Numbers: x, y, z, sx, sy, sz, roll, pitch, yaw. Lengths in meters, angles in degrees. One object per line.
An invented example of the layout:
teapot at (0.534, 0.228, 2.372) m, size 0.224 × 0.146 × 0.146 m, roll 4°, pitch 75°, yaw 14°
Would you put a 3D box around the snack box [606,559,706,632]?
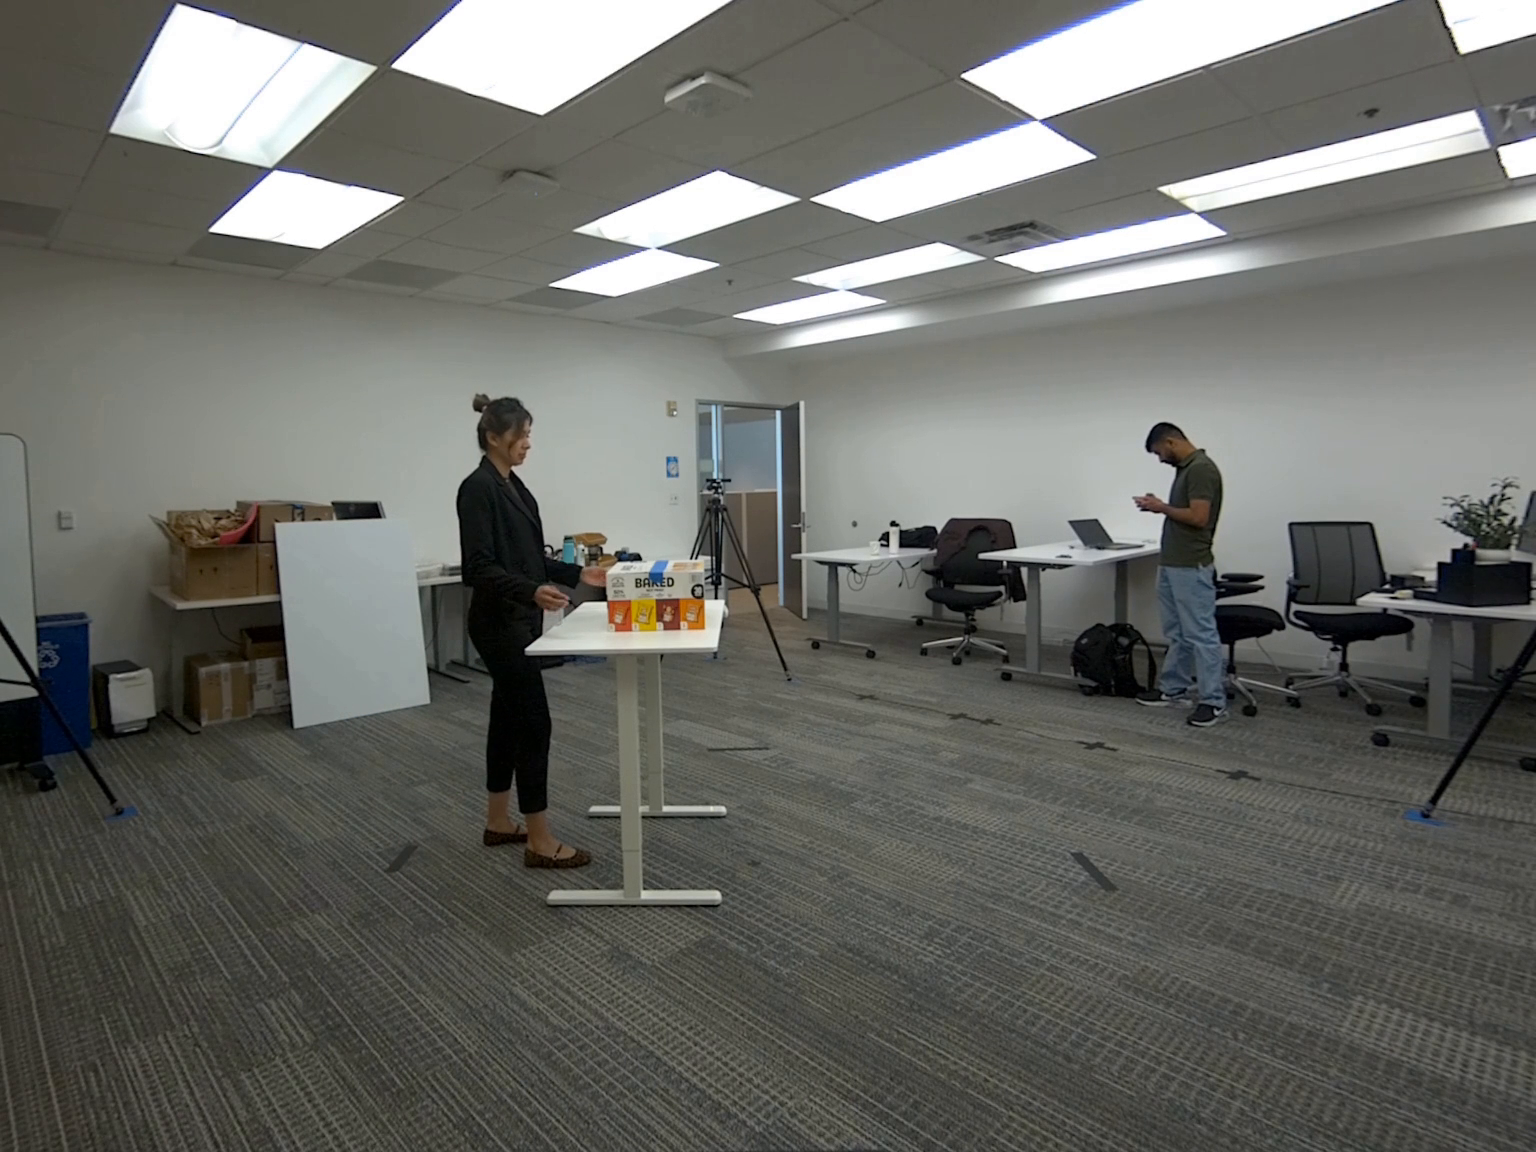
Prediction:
snack box at (-0.396, 0.065, 3.134) m, size 0.340 × 0.205 × 0.407 m, roll -1°, pitch 6°, yaw -2°
